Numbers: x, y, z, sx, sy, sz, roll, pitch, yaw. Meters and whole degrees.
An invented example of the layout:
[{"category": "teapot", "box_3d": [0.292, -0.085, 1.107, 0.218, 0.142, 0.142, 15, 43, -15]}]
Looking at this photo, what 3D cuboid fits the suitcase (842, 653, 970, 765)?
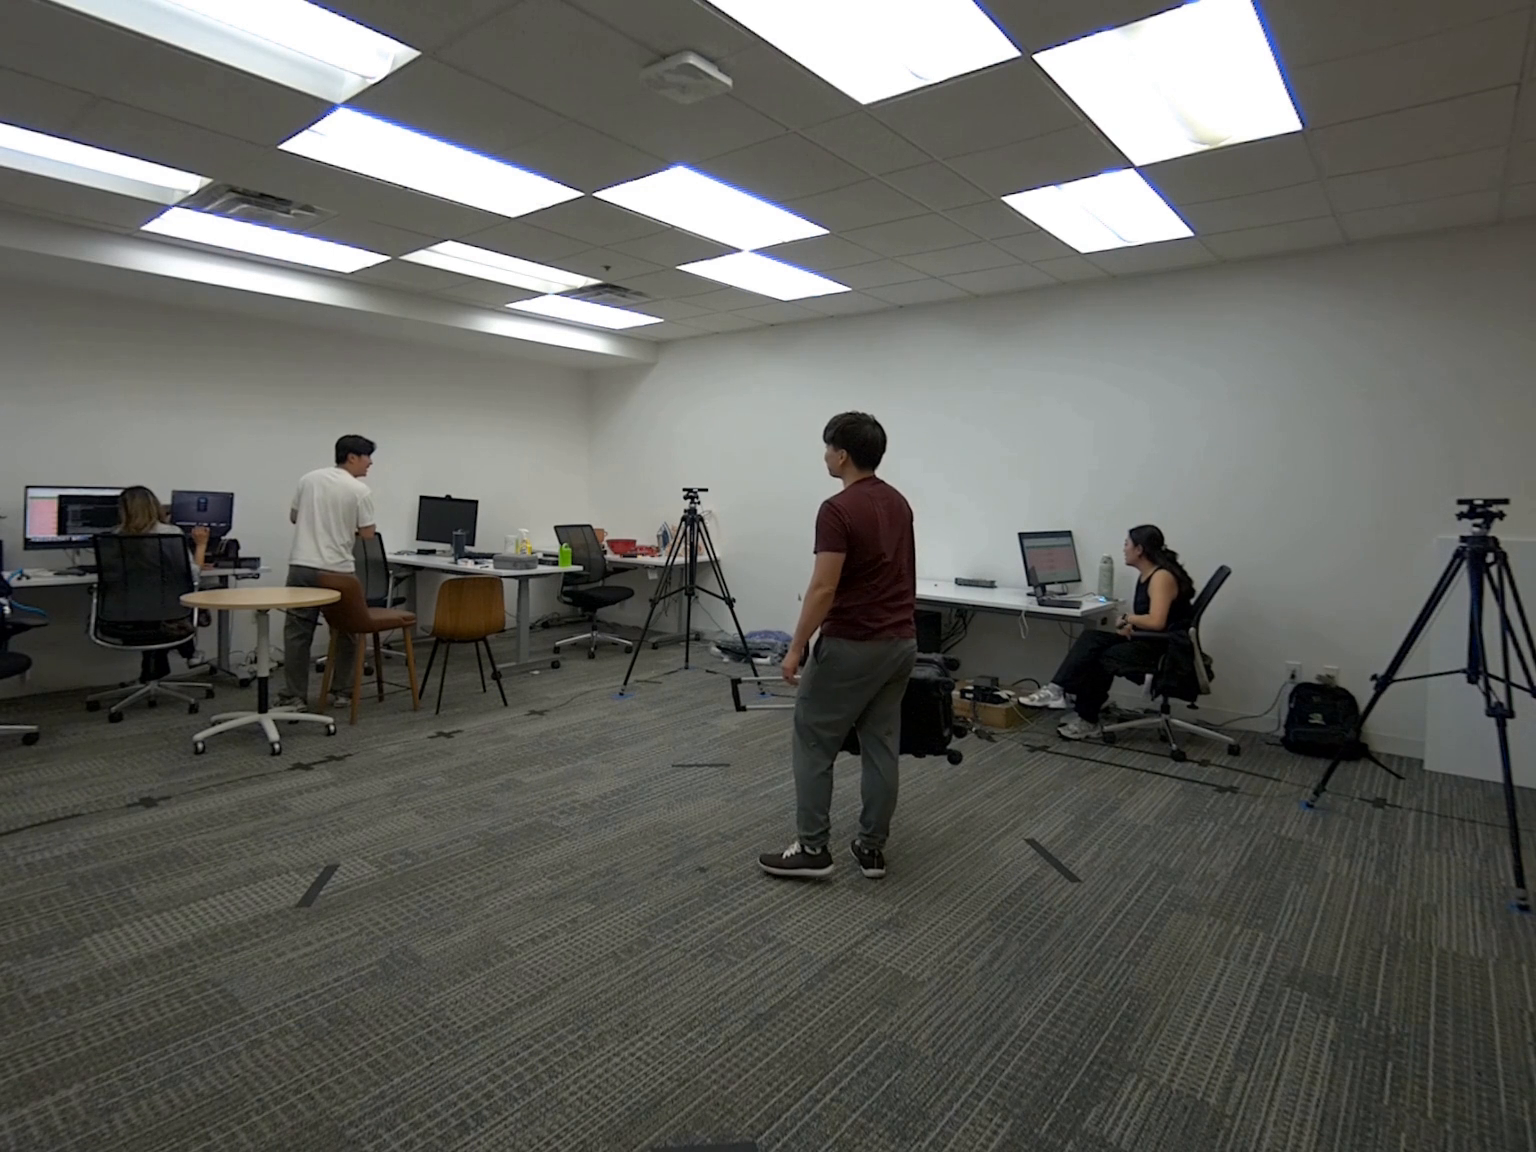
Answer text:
[{"category": "suitcase", "box_3d": [0.285, 0.511, 3.474, 0.998, 0.379, 0.255, -2, 13, 20]}]
